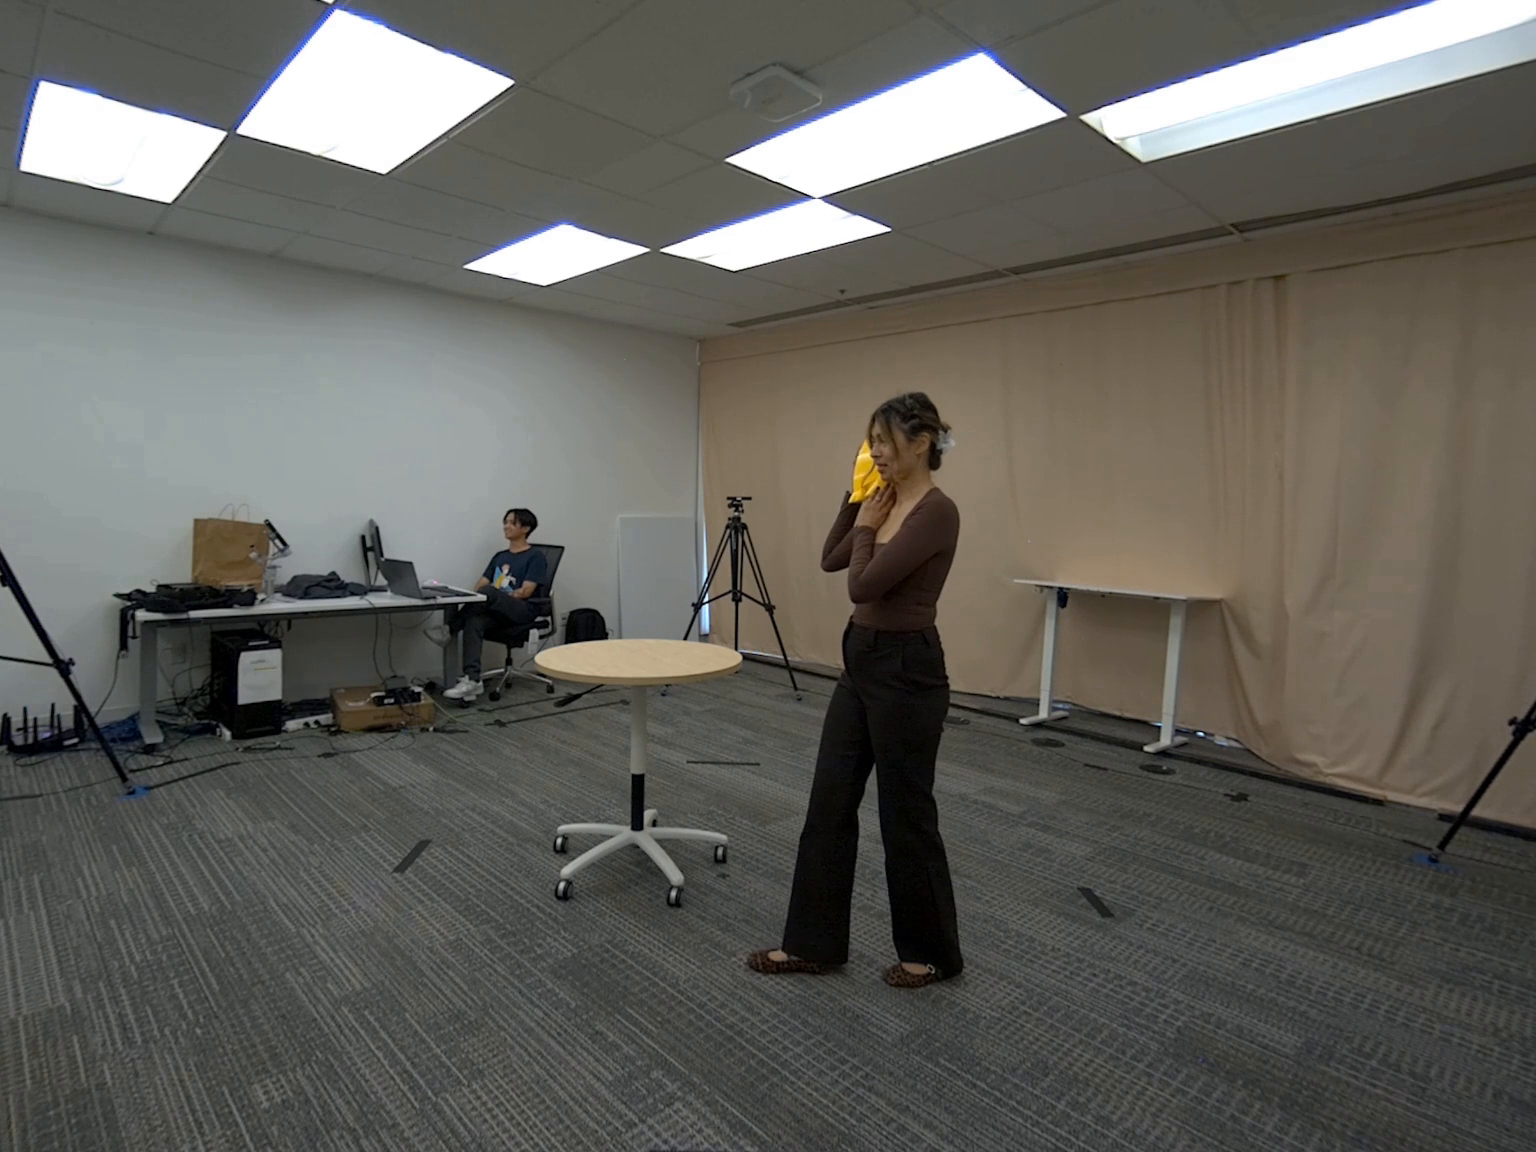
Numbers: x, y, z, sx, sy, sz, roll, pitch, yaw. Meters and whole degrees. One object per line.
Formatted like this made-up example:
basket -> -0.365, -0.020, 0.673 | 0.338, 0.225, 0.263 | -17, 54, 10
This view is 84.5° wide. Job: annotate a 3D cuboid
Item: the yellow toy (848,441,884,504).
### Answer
yellow toy -> 0.329, -0.355, 2.550 | 0.191, 0.231, 0.206 | -10, -2, -17
